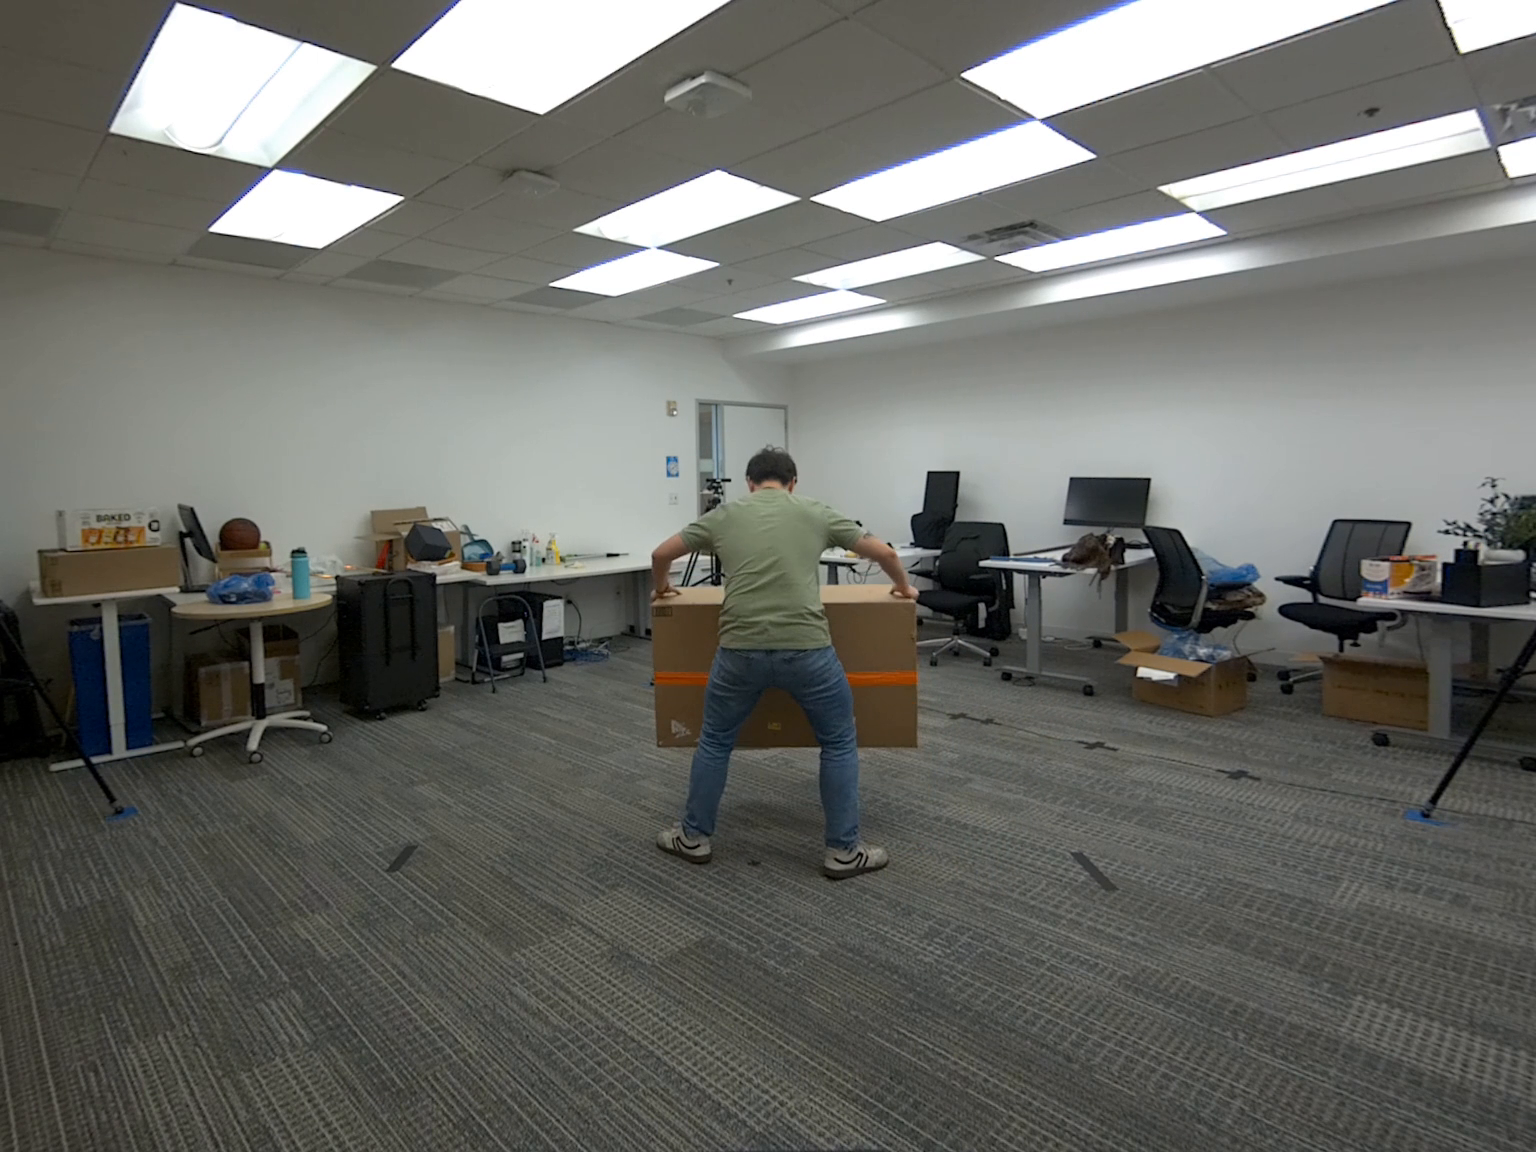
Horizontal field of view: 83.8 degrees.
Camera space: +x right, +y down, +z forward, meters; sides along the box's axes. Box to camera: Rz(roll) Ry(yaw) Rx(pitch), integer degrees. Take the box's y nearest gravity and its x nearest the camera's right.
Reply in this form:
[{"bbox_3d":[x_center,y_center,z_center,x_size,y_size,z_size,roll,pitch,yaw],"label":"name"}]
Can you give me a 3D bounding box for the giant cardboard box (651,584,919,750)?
[{"bbox_3d":[0.065,0.361,3.517,1.031,0.574,0.427,-1,7,5],"label":"giant cardboard box"}]
